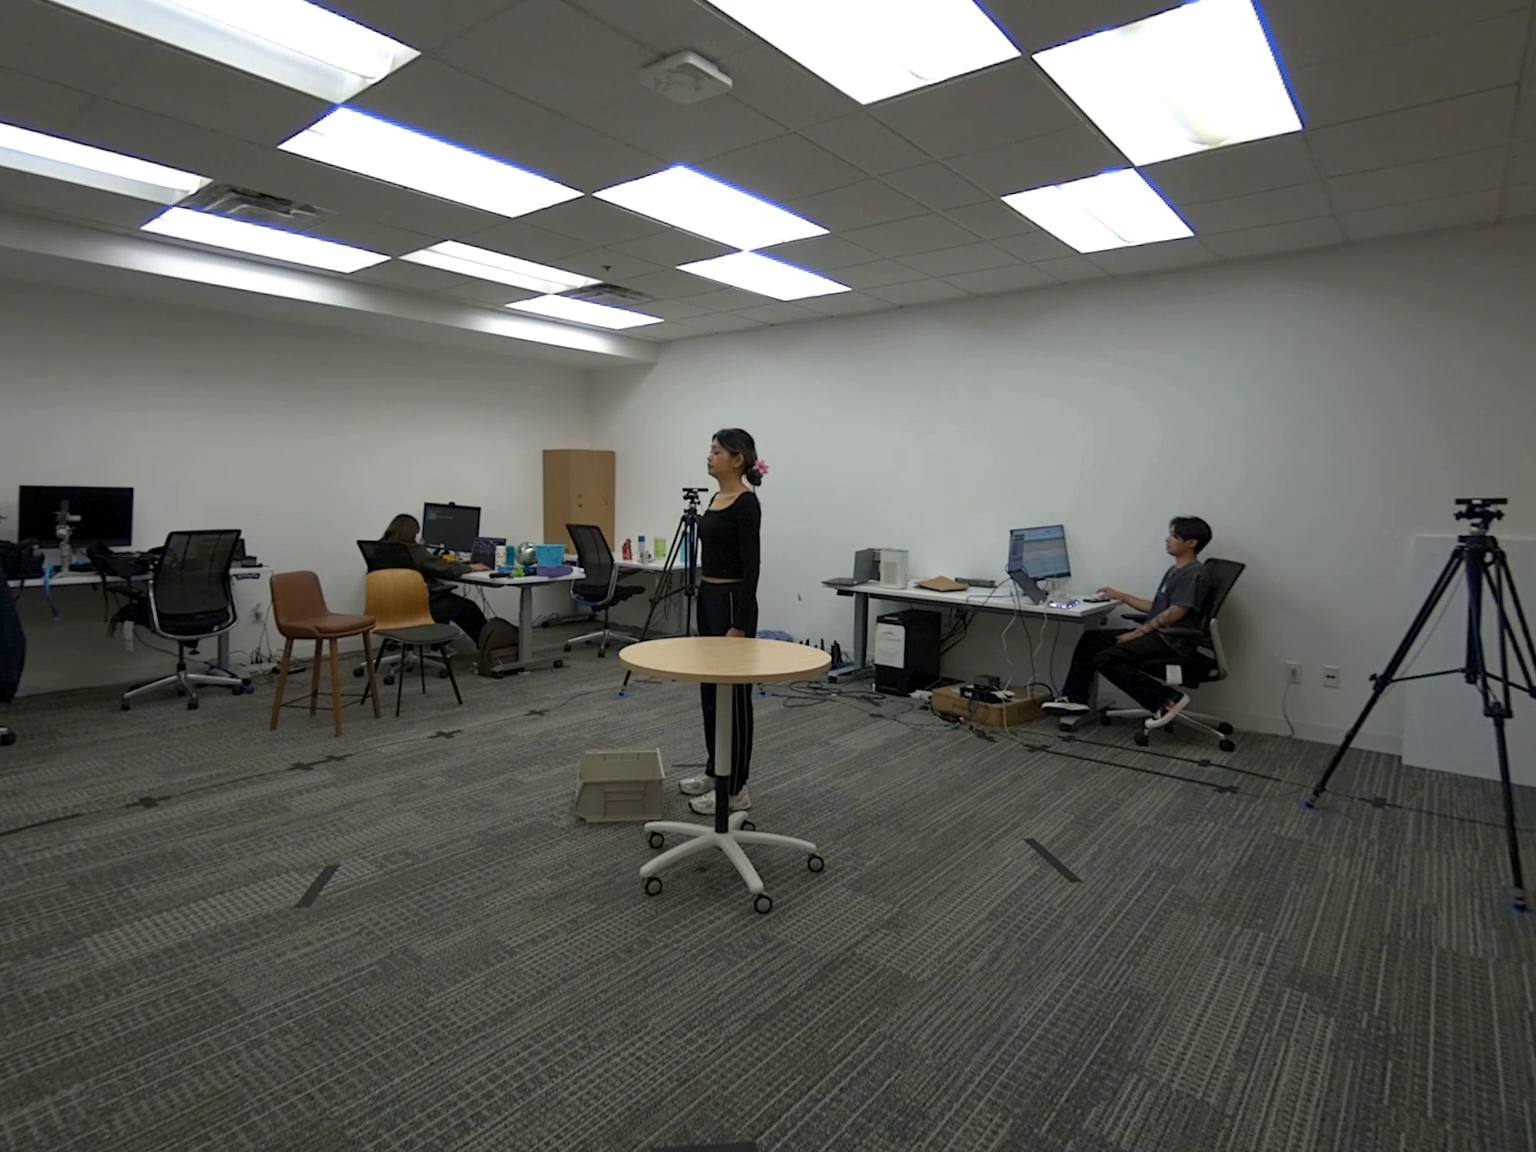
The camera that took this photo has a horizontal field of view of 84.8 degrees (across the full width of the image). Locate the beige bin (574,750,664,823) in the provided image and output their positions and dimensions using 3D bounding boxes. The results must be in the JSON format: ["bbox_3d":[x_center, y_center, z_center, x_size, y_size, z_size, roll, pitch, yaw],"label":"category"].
[{"bbox_3d":[-0.668,0.910,3.747,0.374,0.188,0.428,1,4,-10],"label":"beige bin"}]
